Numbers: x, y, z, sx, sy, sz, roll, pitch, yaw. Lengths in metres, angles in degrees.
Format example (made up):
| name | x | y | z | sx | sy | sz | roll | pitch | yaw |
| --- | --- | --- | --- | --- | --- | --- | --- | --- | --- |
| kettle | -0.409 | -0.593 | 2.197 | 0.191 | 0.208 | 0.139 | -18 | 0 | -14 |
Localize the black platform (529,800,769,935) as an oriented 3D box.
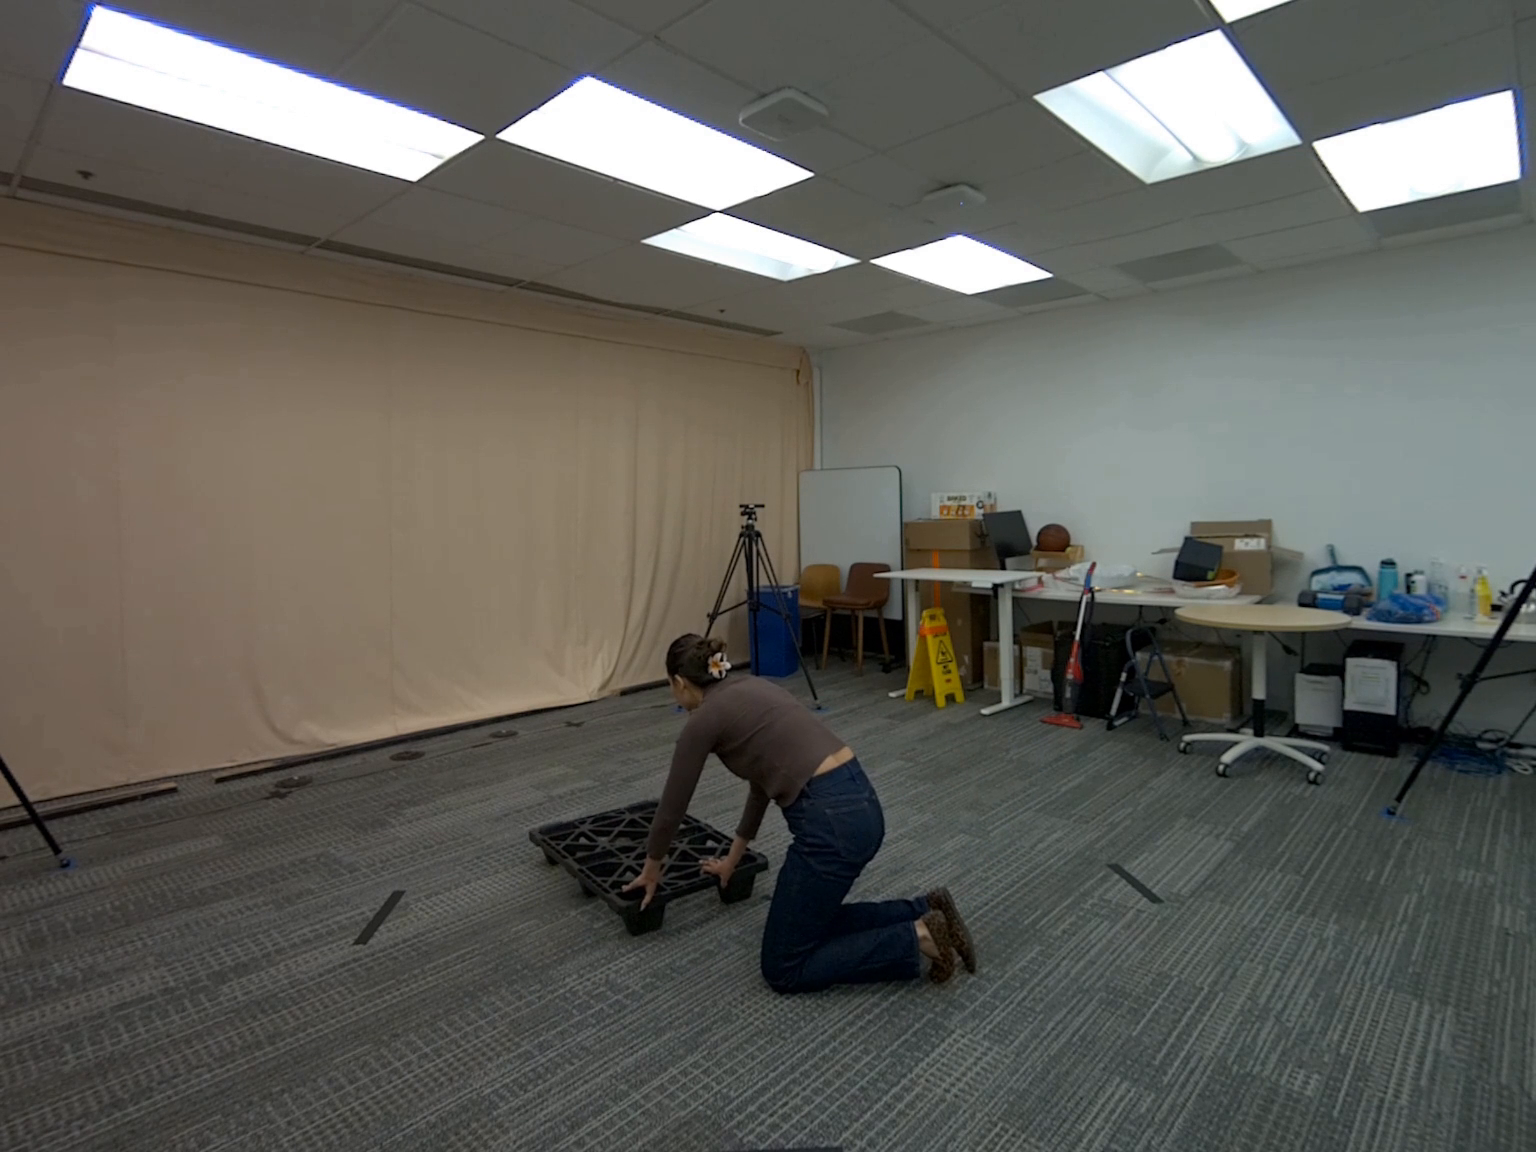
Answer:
| name | x | y | z | sx | sy | sz | roll | pitch | yaw |
| --- | --- | --- | --- | --- | --- | --- | --- | --- | --- |
| black platform | -0.469 | 1.070 | 3.149 | 0.588 | 0.143 | 0.831 | -6 | 6 | -36 |
